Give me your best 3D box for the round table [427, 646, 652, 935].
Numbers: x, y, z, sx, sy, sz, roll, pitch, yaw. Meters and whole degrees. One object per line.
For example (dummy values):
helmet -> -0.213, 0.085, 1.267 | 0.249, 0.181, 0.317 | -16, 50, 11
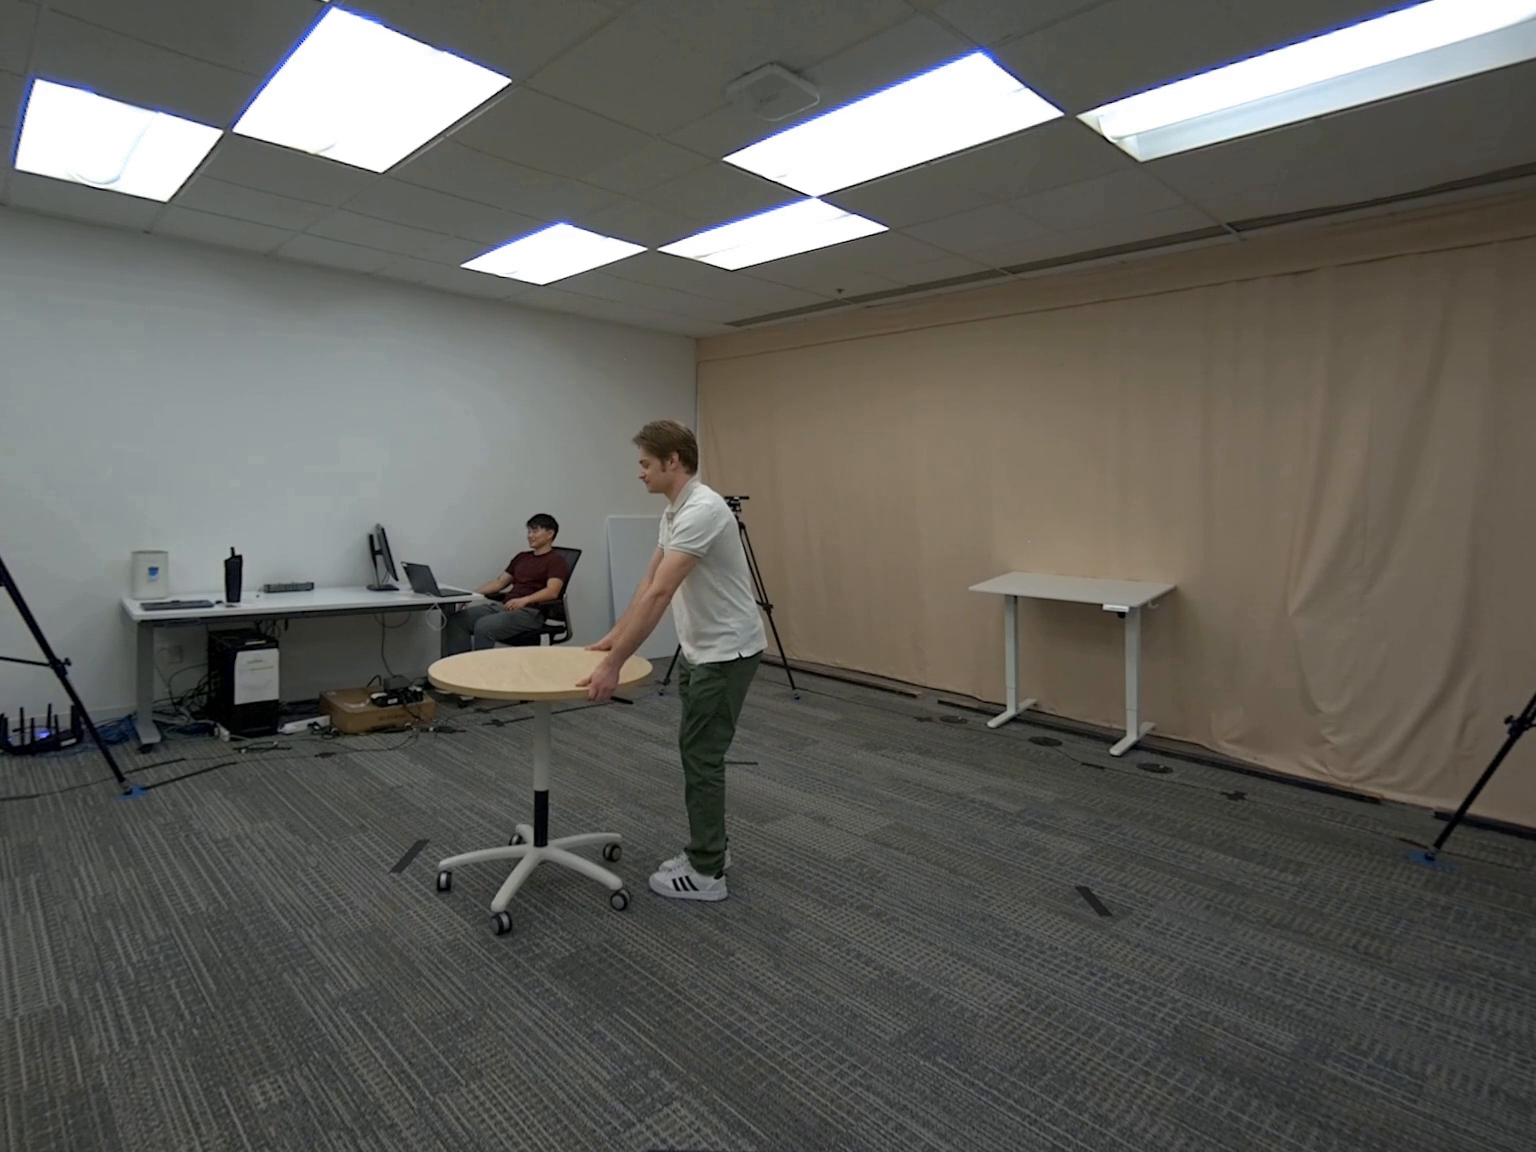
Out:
round table -> -0.801, 0.711, 2.980 | 0.763, 0.791, 0.767 | 1, 4, -1
